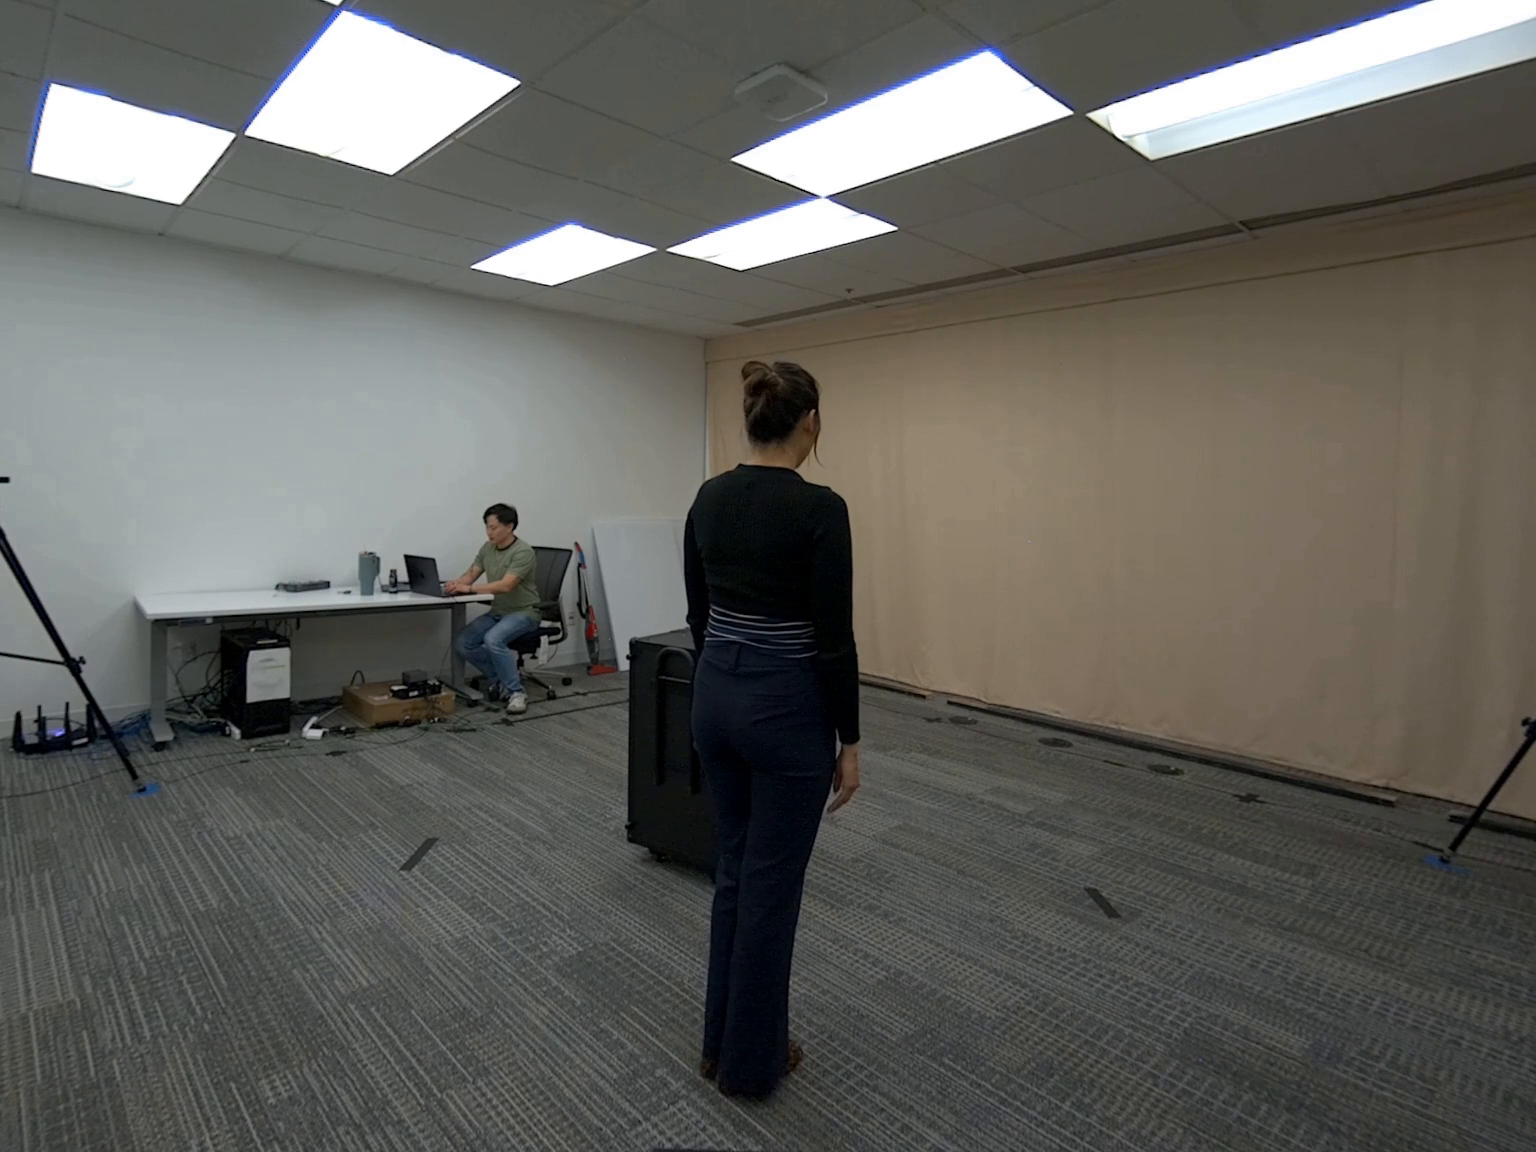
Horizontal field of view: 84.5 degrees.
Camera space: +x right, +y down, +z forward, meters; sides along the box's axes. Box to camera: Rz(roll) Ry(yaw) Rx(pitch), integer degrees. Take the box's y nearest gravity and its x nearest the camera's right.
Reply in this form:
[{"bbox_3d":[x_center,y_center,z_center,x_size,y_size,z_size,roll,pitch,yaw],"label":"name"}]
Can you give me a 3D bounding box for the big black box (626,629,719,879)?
[{"bbox_3d":[-0.238,0.671,3.181,0.534,0.858,0.388,4,5,34],"label":"big black box"}]
